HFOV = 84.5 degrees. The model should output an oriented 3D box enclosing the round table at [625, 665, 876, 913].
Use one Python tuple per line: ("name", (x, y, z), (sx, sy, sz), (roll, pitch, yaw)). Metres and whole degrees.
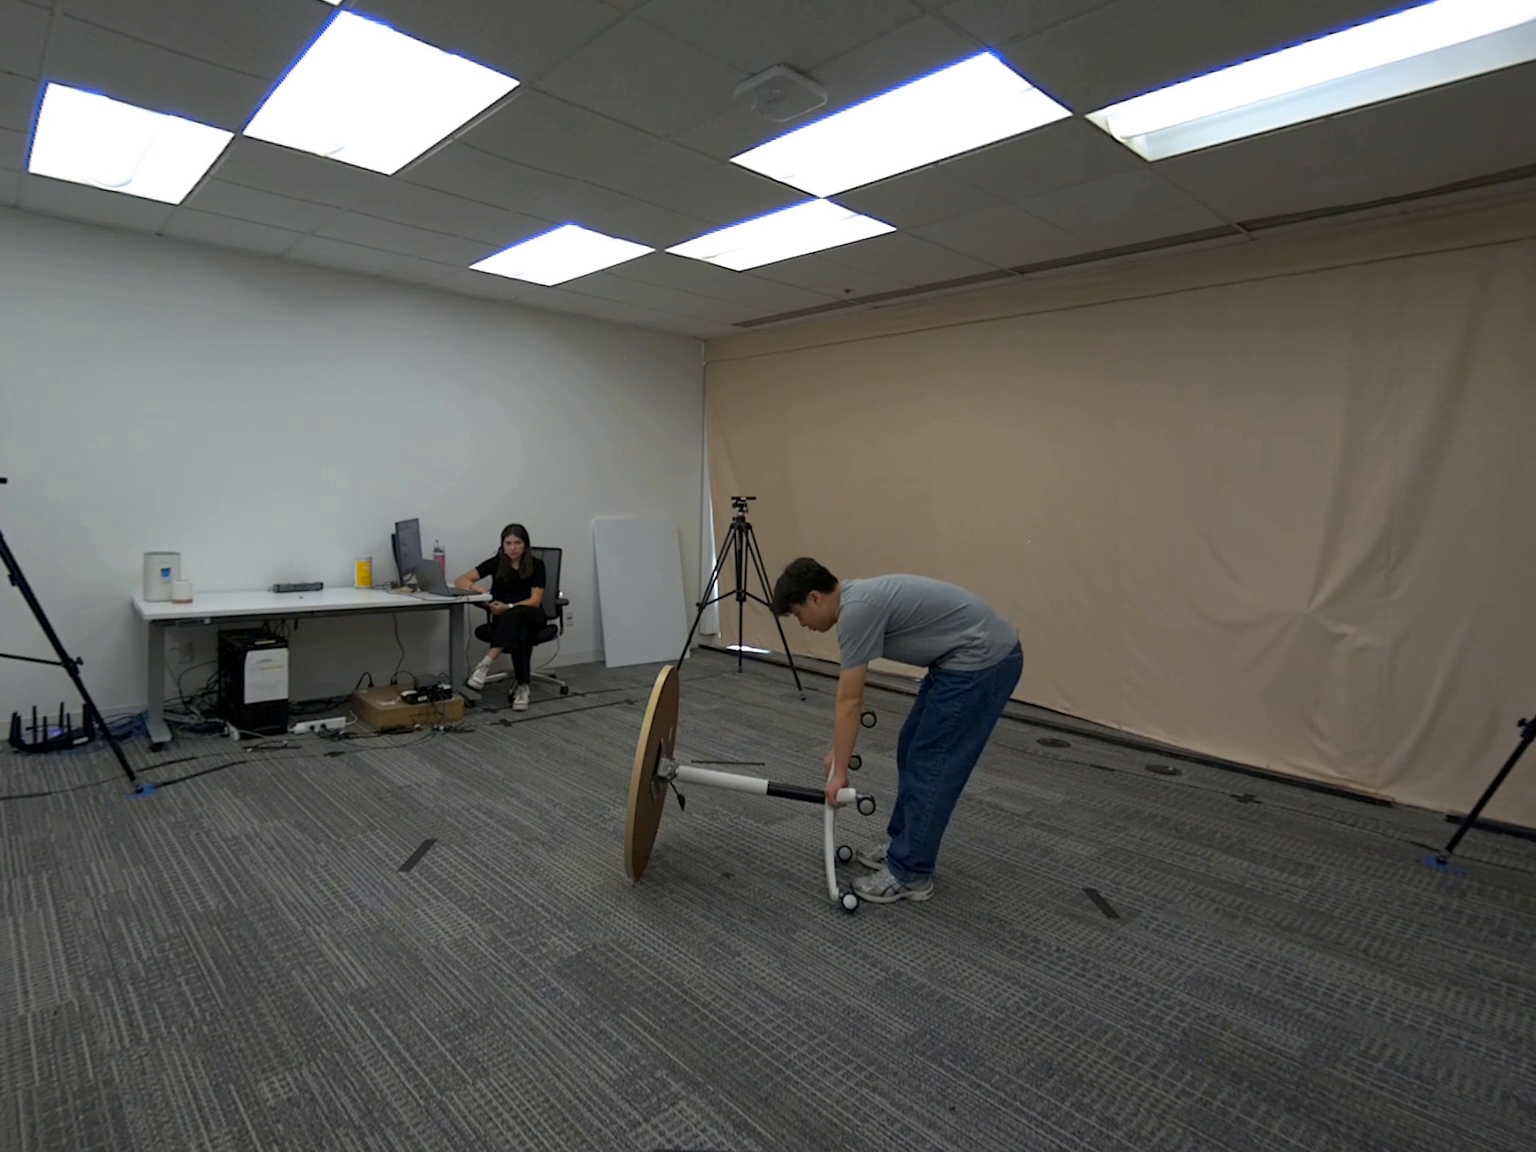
("round table", (-0.047, 0.761, 3.080), (0.798, 0.762, 0.762), (8, 5, 5))
